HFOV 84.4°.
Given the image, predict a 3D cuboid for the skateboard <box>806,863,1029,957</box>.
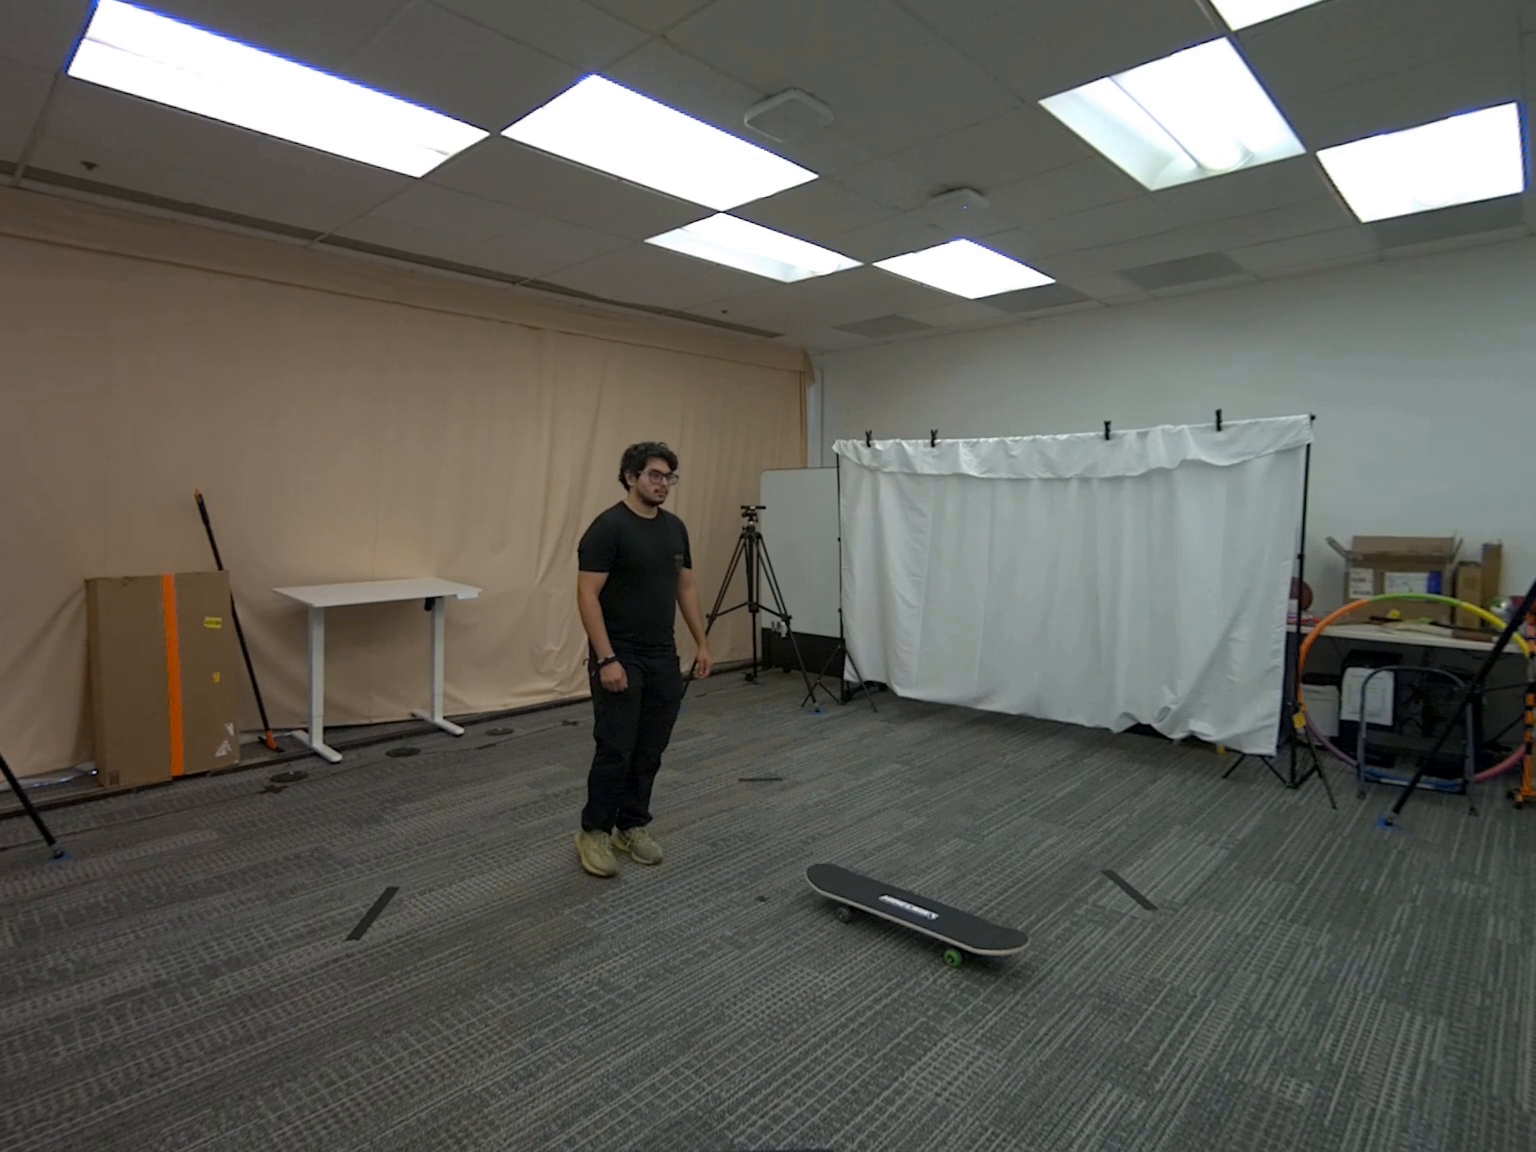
[{"bbox_3d":[0.460,1.105,2.734,0.812,0.110,0.187,4,6,42],"label":"skateboard"}]
